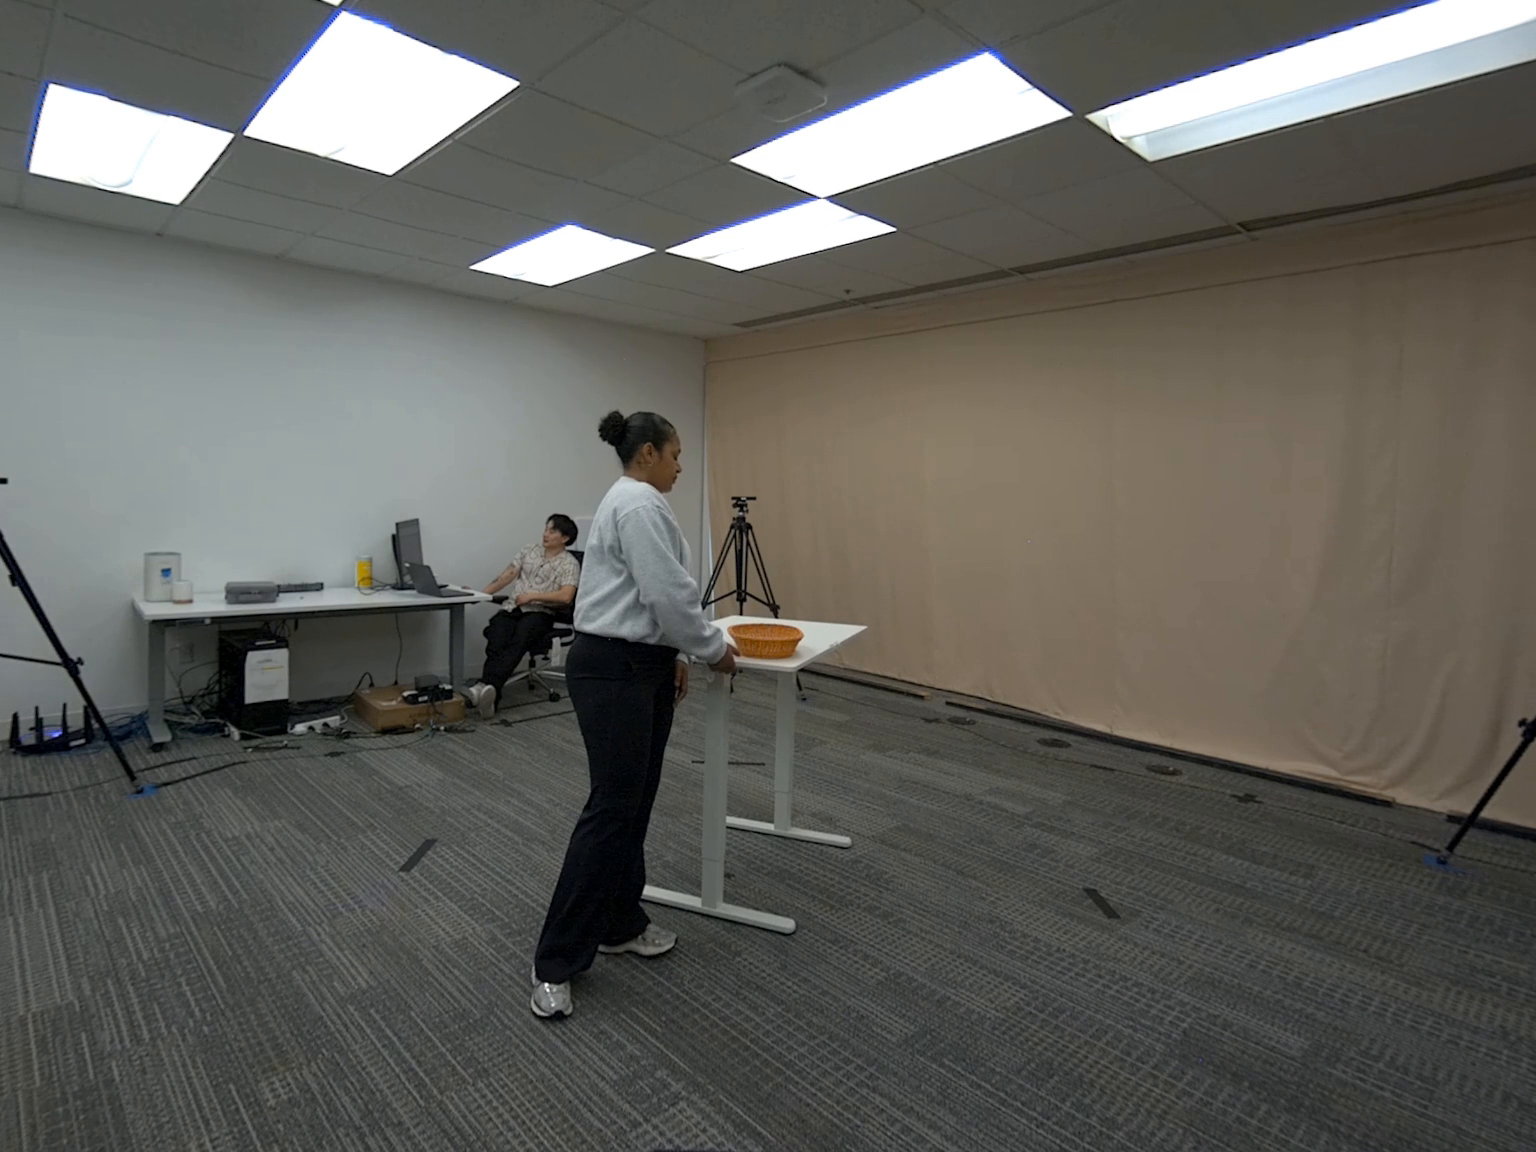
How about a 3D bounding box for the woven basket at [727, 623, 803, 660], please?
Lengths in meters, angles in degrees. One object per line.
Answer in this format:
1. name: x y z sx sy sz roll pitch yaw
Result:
1. woven basket: -0.032 0.220 2.797 0.253 0.073 0.351 1 5 1
